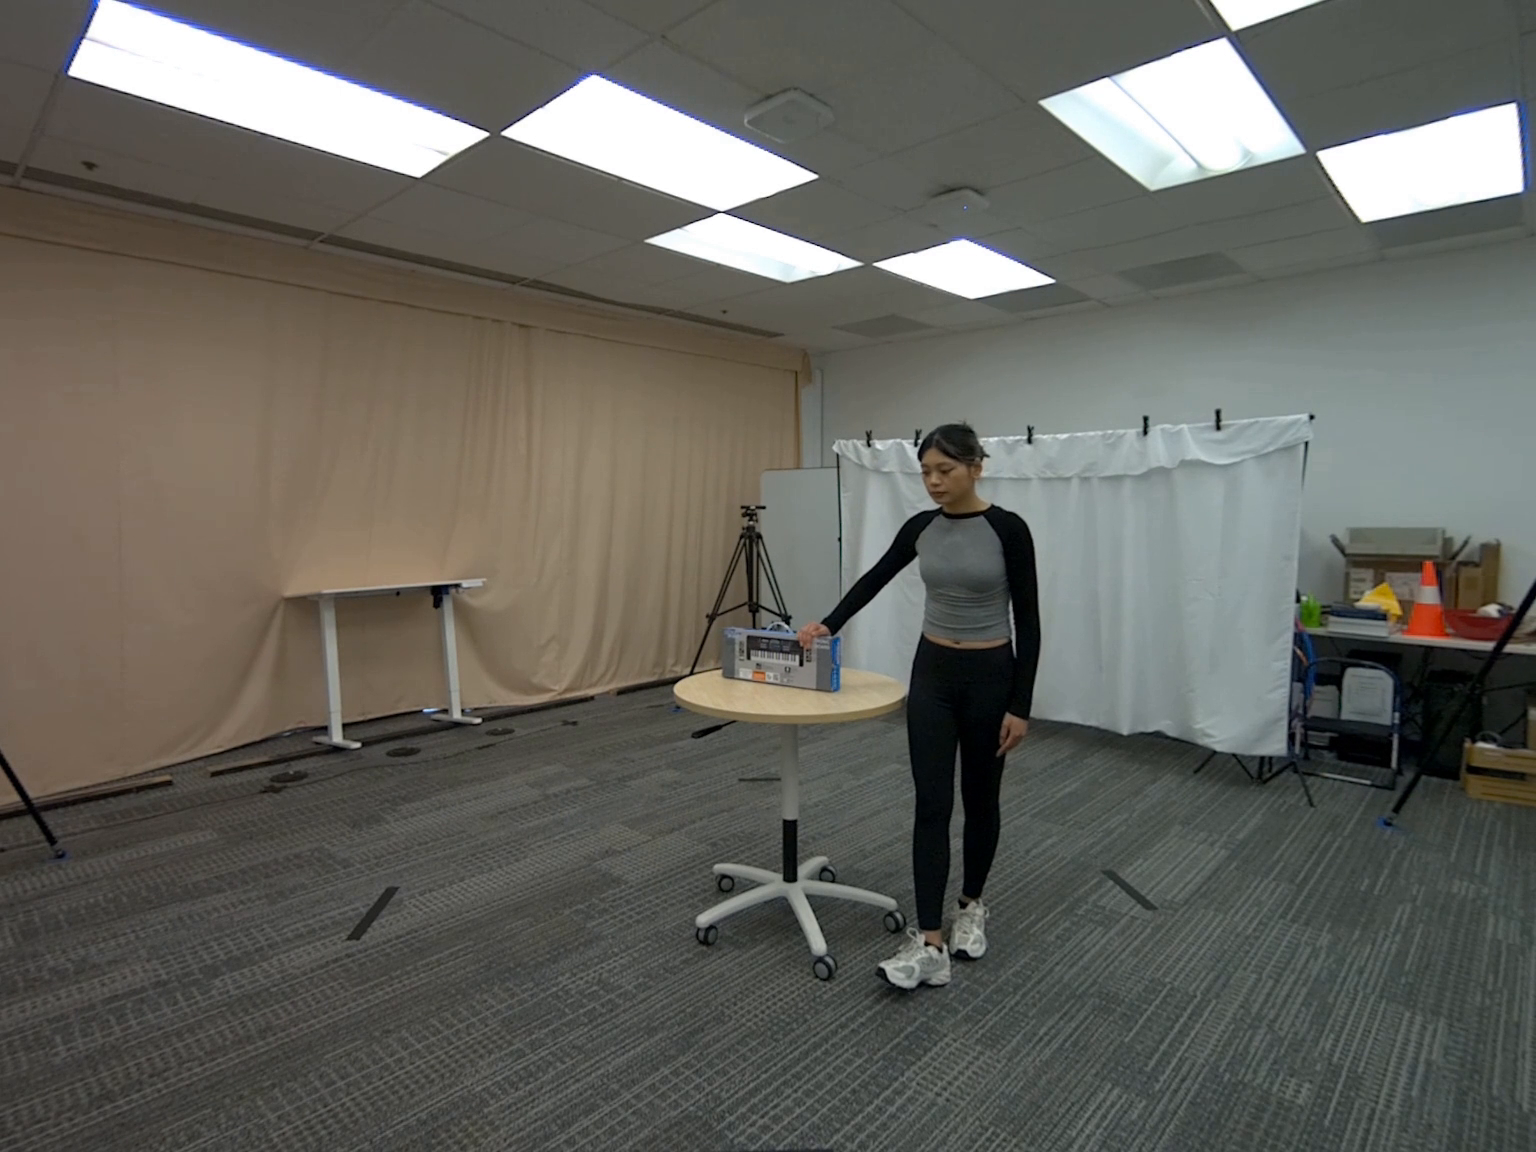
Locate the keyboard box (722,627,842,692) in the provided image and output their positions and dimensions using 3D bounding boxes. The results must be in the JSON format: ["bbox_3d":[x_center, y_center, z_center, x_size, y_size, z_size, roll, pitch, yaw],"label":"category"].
[{"bbox_3d":[0.043,0.278,2.832,0.451,0.176,0.057,3,2,36],"label":"keyboard box"}]
